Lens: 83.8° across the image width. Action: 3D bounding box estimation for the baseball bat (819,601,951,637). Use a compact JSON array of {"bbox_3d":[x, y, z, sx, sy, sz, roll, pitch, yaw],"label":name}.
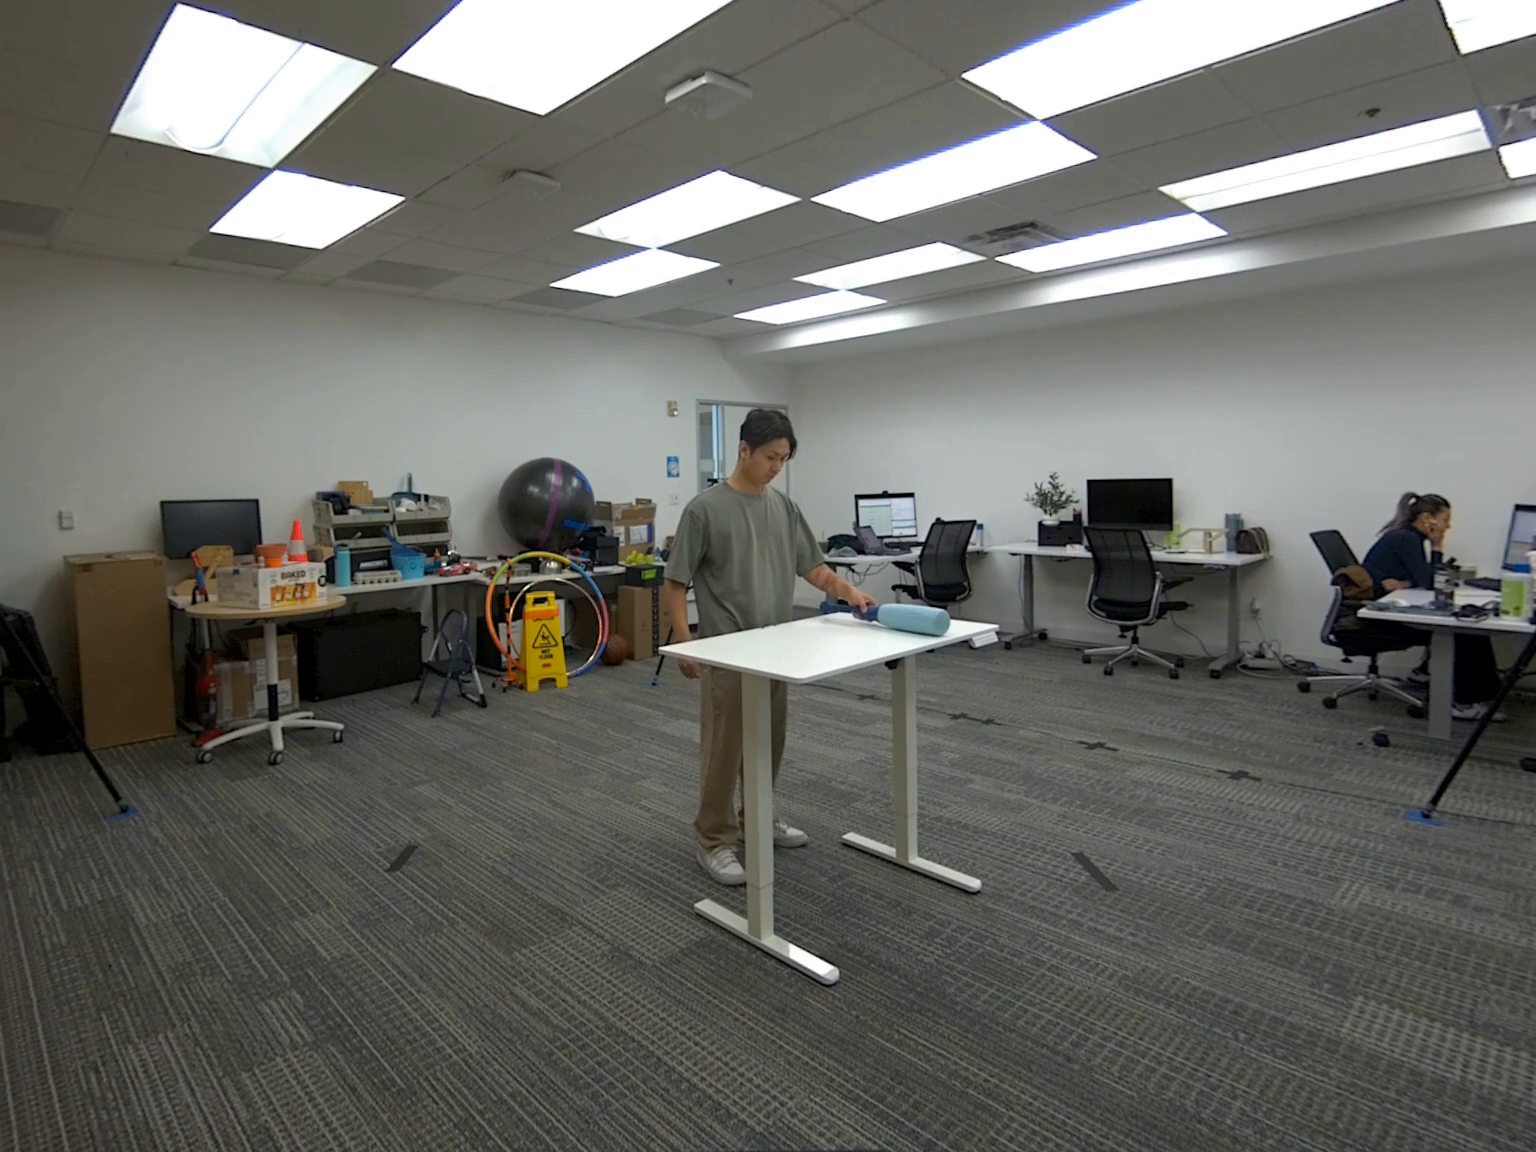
[{"bbox_3d":[0.390,0.134,2.924,0.087,0.089,0.559,-5,5,-40],"label":"baseball bat"}]
